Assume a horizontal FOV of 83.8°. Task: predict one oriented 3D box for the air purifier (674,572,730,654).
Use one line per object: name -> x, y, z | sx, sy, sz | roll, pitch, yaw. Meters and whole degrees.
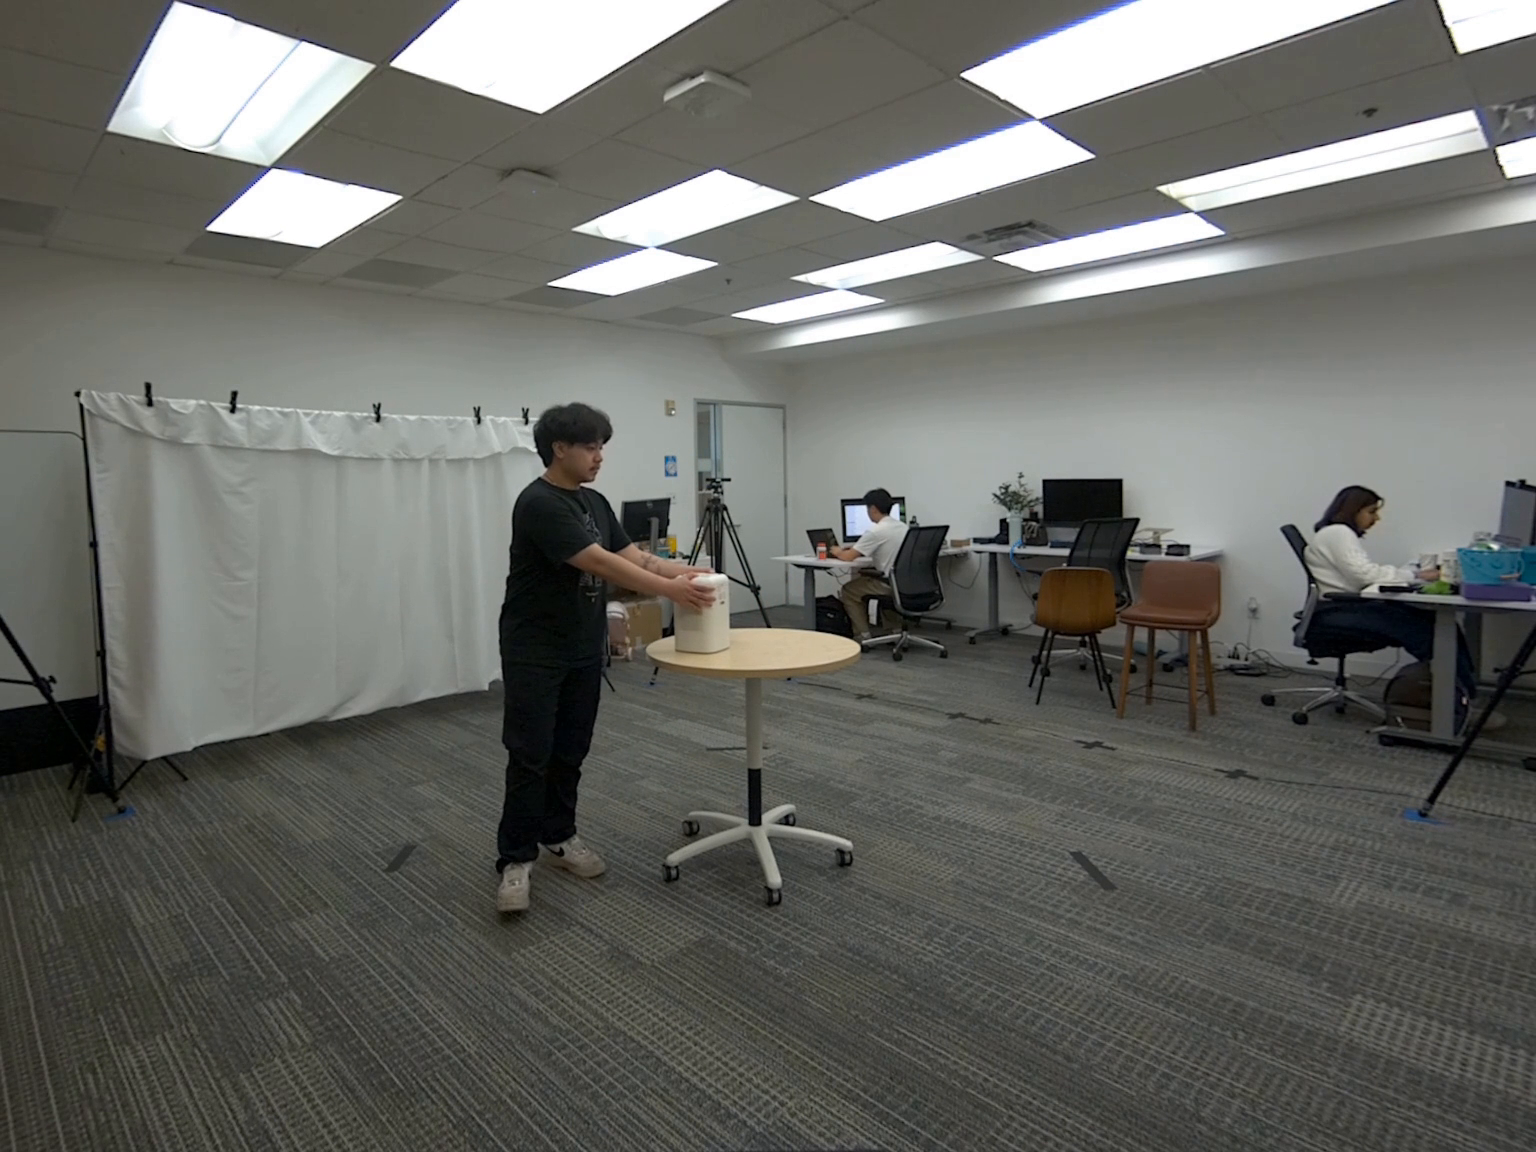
air purifier -> -0.235, 0.128, 3.027 | 0.175, 0.264, 0.168 | 1, 5, 26
